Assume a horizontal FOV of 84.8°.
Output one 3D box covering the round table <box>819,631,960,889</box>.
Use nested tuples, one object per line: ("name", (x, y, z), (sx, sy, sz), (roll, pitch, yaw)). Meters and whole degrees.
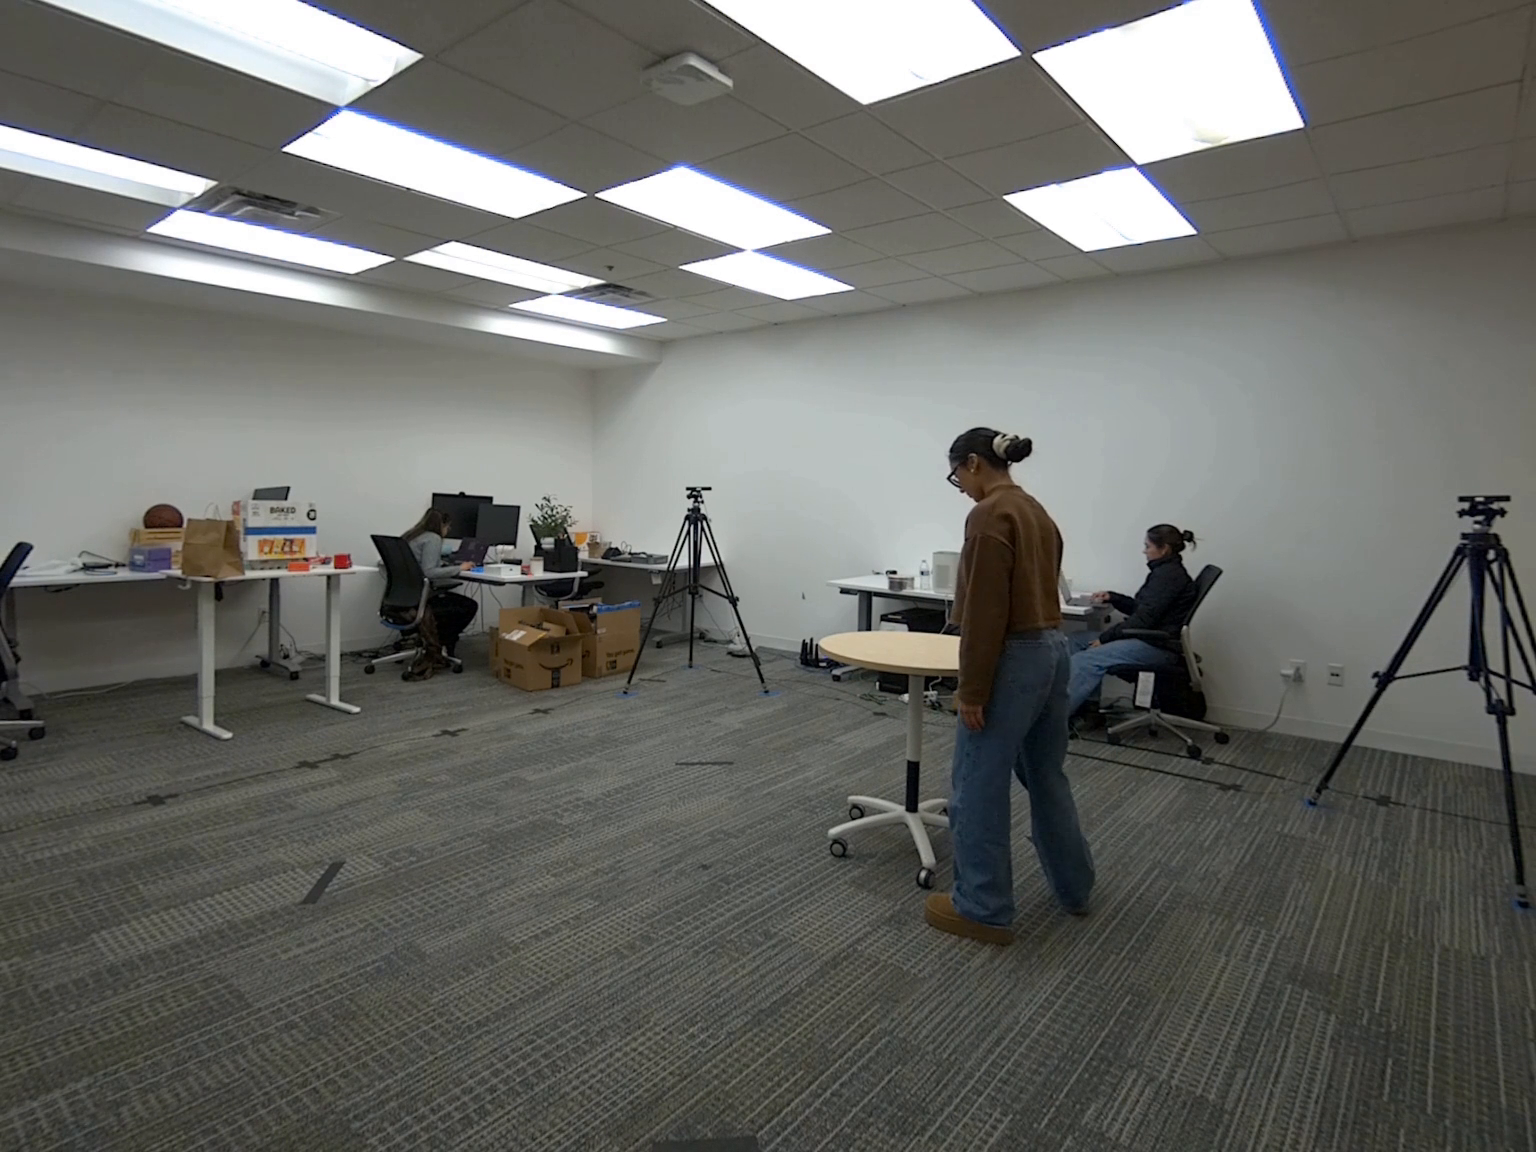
("round table", (0.564, 0.670, 3.334), (0.763, 0.791, 0.768), (2, 4, -2))
